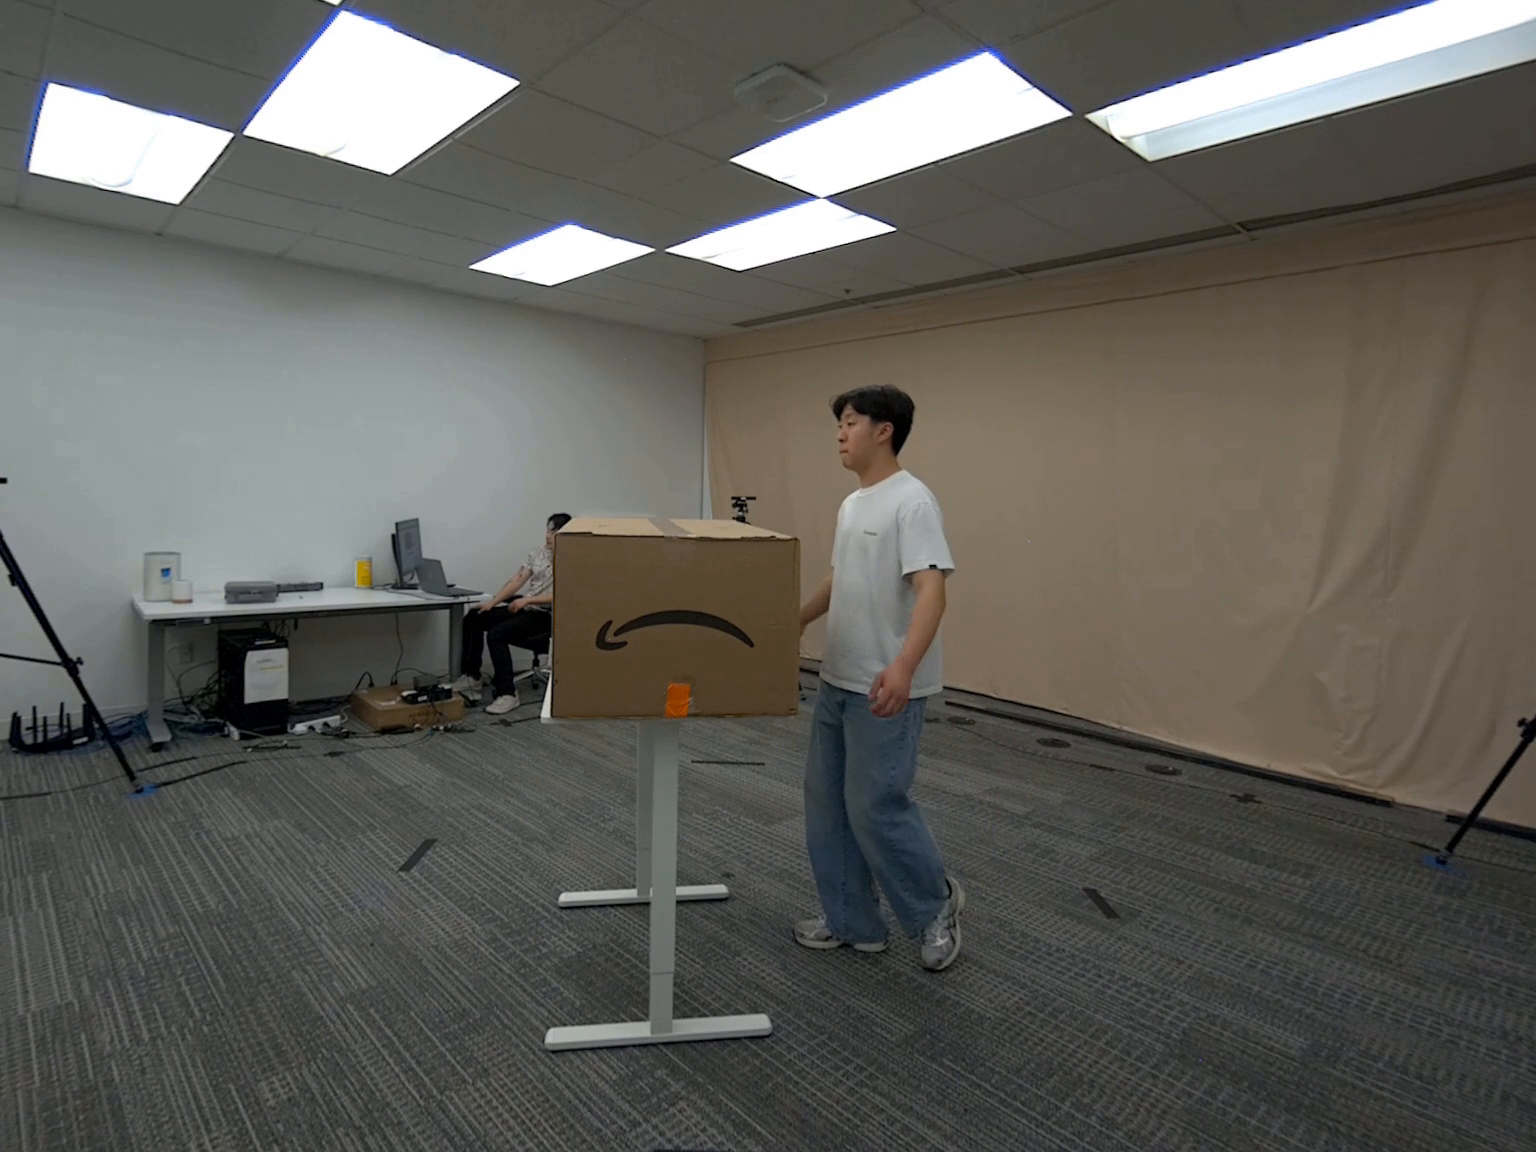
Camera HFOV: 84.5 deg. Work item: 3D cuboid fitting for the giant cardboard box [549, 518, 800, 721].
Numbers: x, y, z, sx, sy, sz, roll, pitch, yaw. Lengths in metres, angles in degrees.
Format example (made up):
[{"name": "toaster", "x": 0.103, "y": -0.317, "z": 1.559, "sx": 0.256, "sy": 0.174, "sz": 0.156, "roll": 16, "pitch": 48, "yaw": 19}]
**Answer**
[{"name": "giant cardboard box", "x": -0.301, "y": 0.074, "z": 2.448, "sx": 0.573, "sy": 0.425, "sz": 1.037, "roll": 1, "pitch": 6, "yaw": -10}]
